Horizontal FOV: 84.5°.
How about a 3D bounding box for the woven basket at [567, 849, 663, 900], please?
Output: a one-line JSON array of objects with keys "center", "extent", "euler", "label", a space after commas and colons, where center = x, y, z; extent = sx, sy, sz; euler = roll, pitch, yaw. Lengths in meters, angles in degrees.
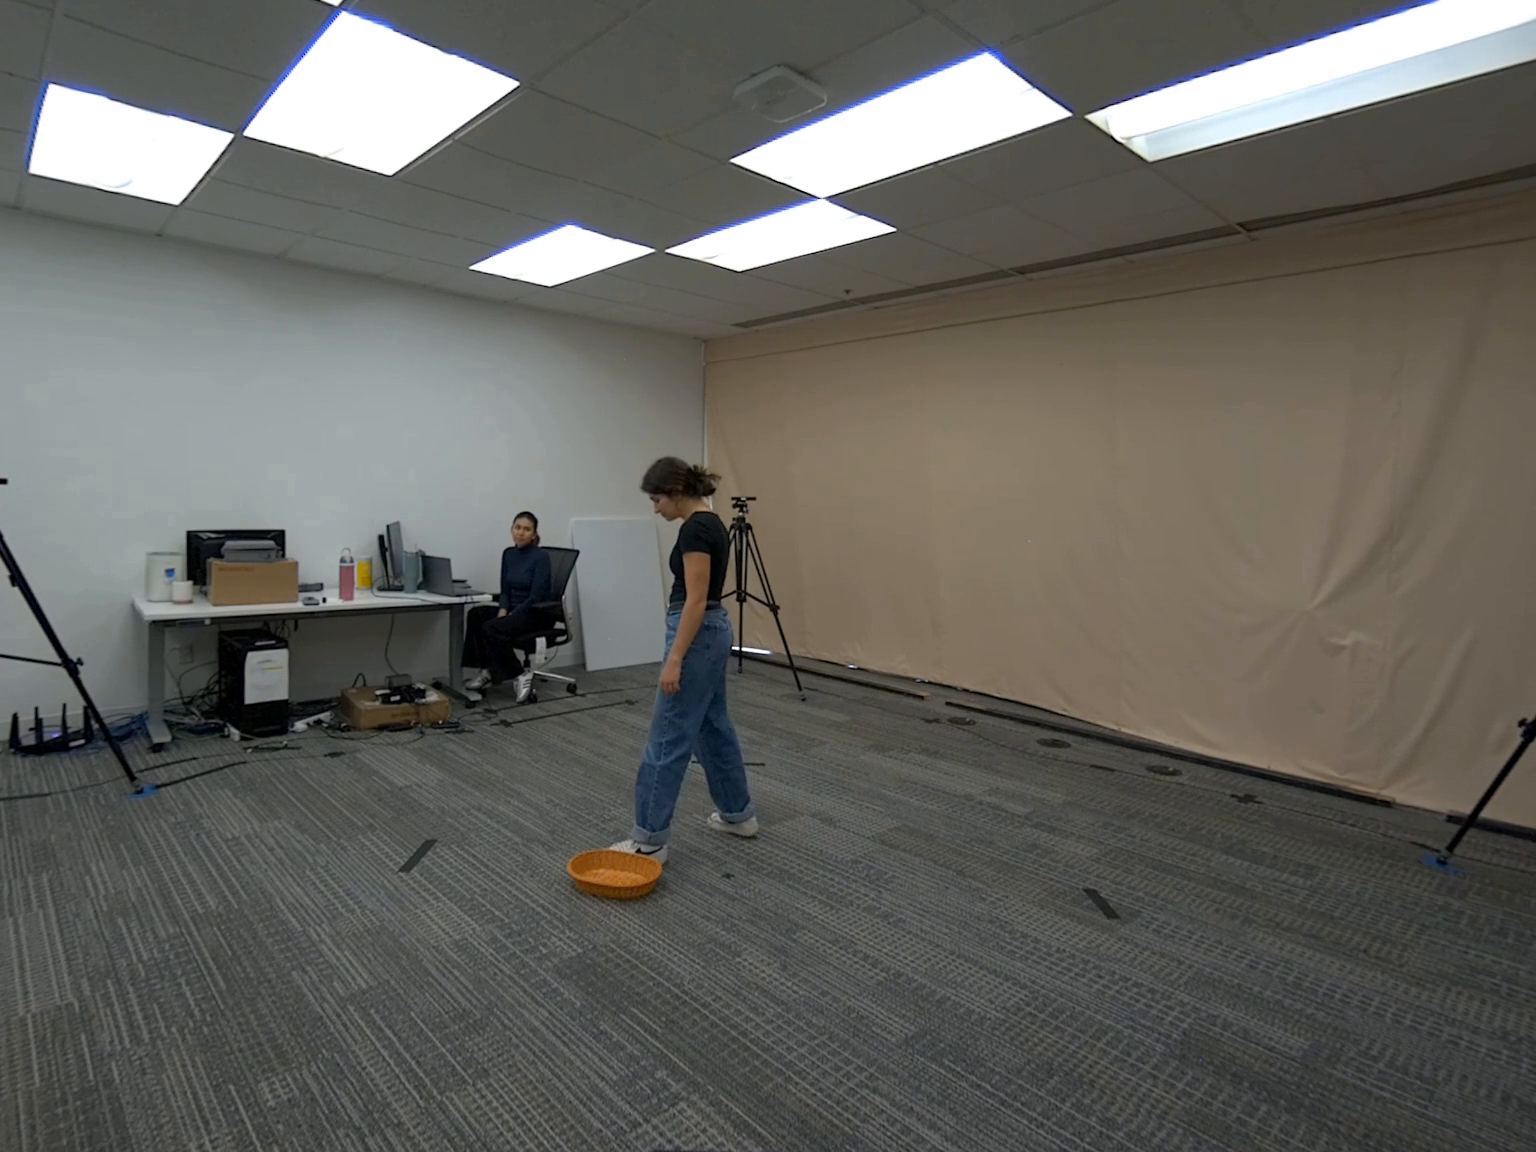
[{"center": [-0.553, 1.065, 2.998], "extent": [0.356, 0.073, 0.250], "euler": [3, 7, 18], "label": "woven basket"}]
